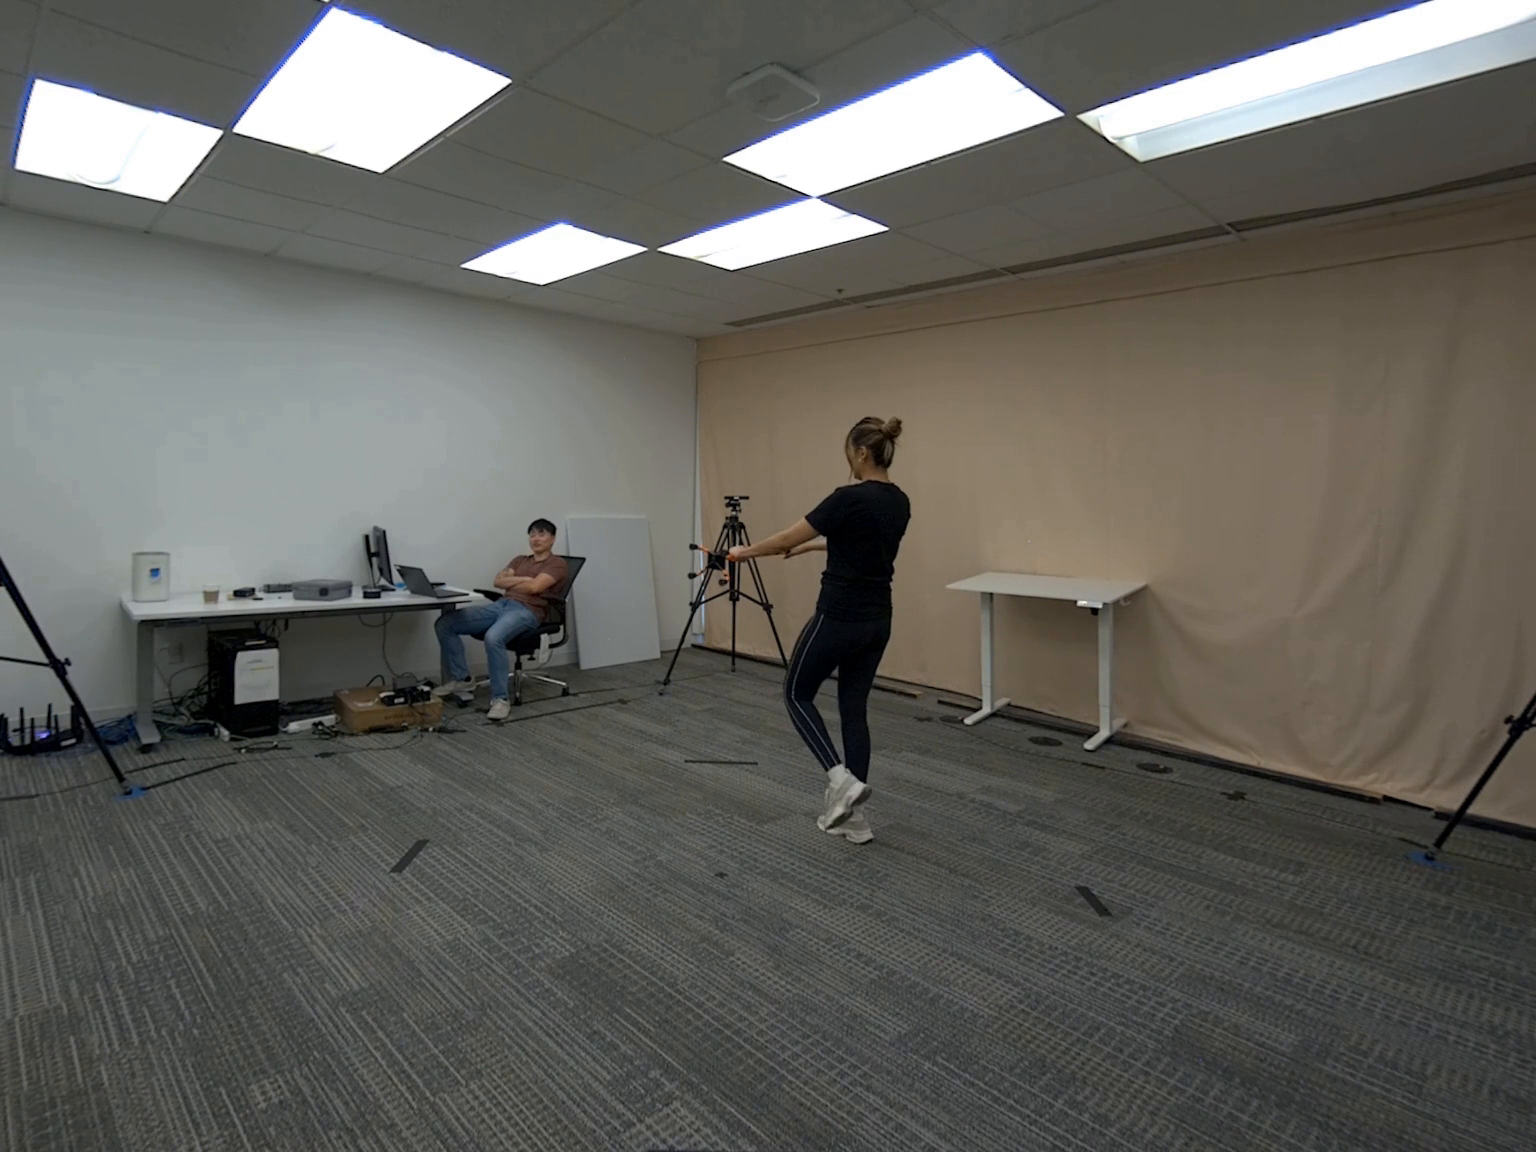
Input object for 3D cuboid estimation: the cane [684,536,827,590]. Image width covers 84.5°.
[{"bbox_3d":[0.027,-0.084,3.798,0.212,0.150,0.889,11,14,41],"label":"cane"}]
